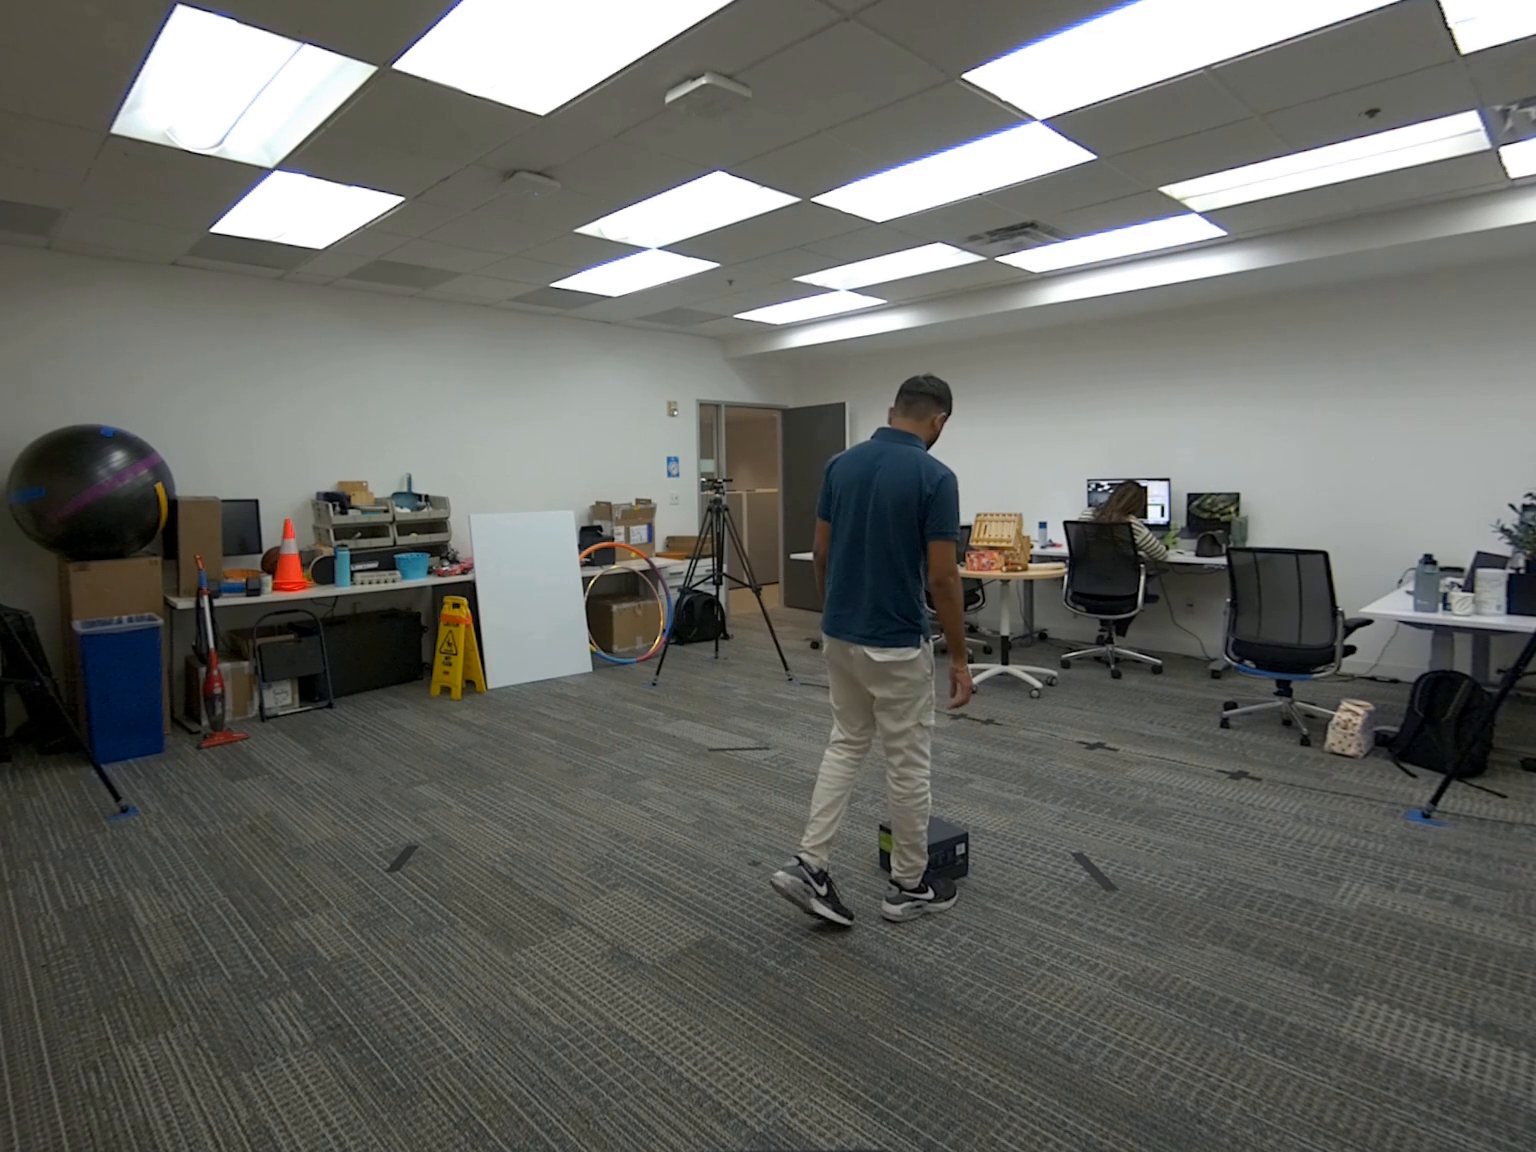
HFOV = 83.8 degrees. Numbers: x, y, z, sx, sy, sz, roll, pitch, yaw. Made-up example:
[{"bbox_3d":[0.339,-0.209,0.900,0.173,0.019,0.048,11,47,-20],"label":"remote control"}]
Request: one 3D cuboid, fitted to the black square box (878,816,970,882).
[{"bbox_3d":[0.552,0.964,3.019,0.212,0.155,0.234,-5,6,-33],"label":"black square box"}]
